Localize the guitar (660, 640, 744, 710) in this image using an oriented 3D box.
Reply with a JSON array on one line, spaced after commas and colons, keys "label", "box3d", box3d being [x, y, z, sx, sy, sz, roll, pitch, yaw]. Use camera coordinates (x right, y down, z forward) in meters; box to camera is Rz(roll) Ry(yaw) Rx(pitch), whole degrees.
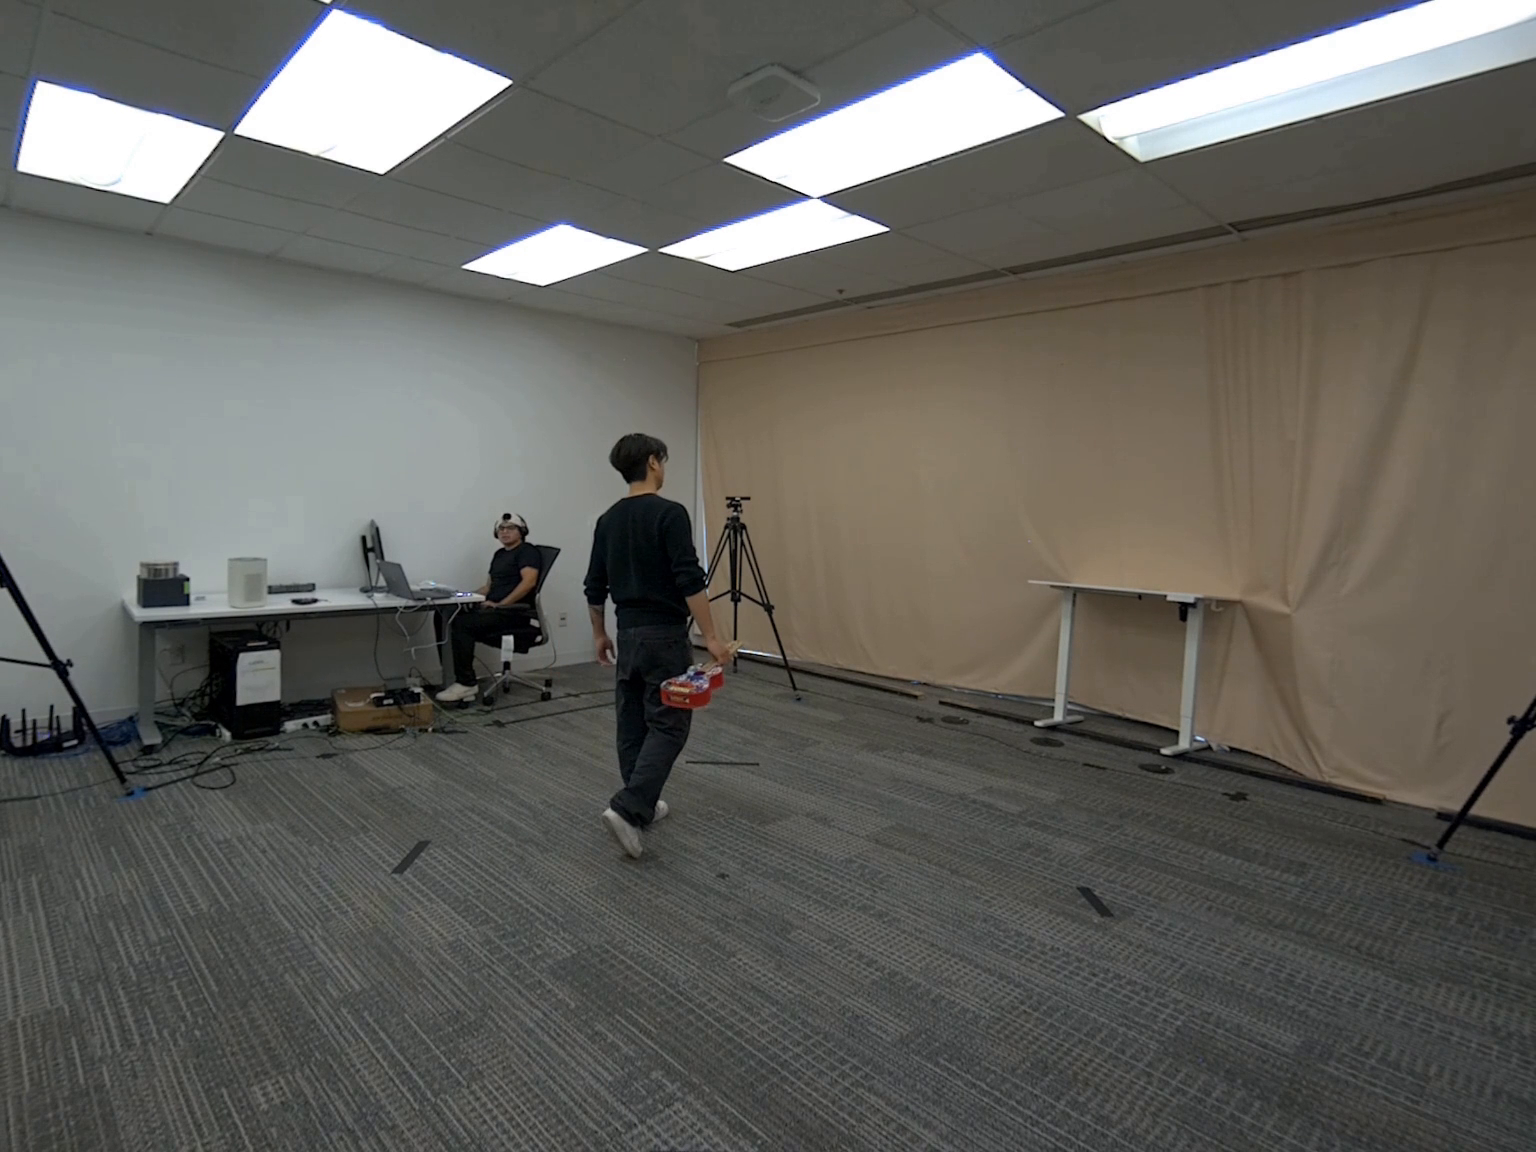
[{"label": "guitar", "box3d": [-0.233, 0.380, 3.294, 0.198, 0.070, 0.491, 8, 21, 35]}]
